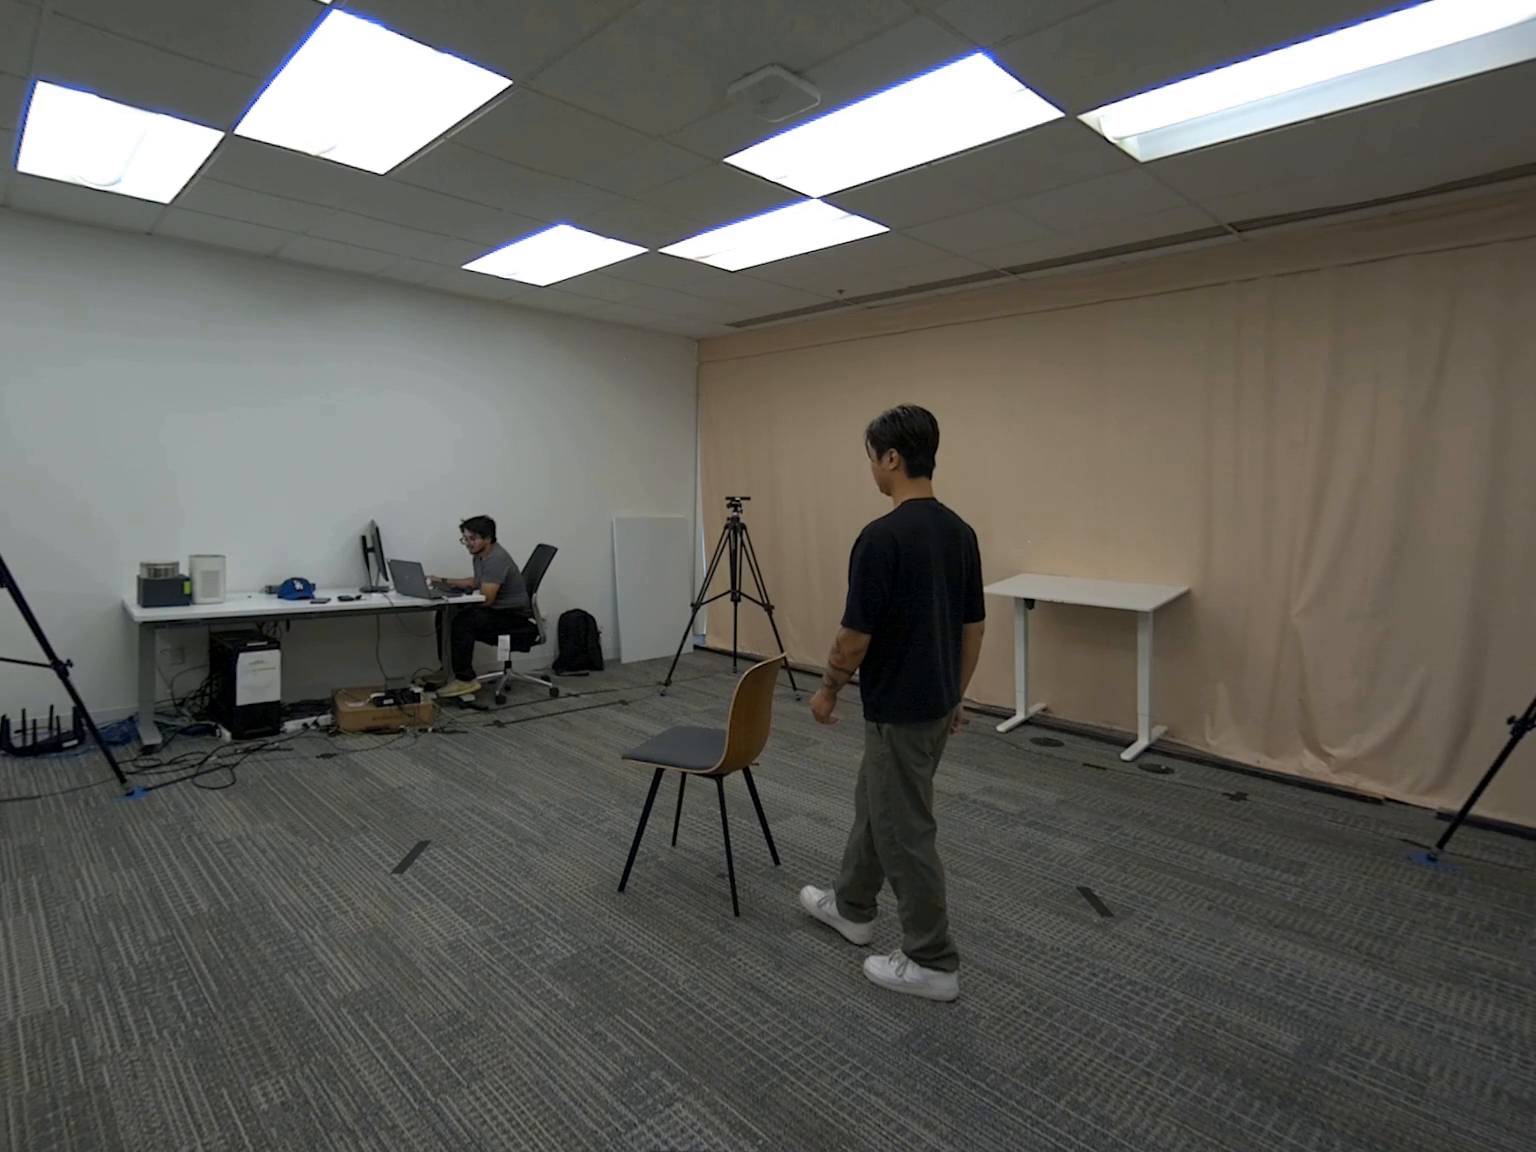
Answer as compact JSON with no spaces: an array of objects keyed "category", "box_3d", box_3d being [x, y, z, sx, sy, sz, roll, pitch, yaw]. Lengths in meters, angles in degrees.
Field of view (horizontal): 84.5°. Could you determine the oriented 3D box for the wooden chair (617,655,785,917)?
[{"category":"wooden chair","box_3d":[-0.242,0.679,3.053,0.532,0.874,0.471,7,5,21]}]
